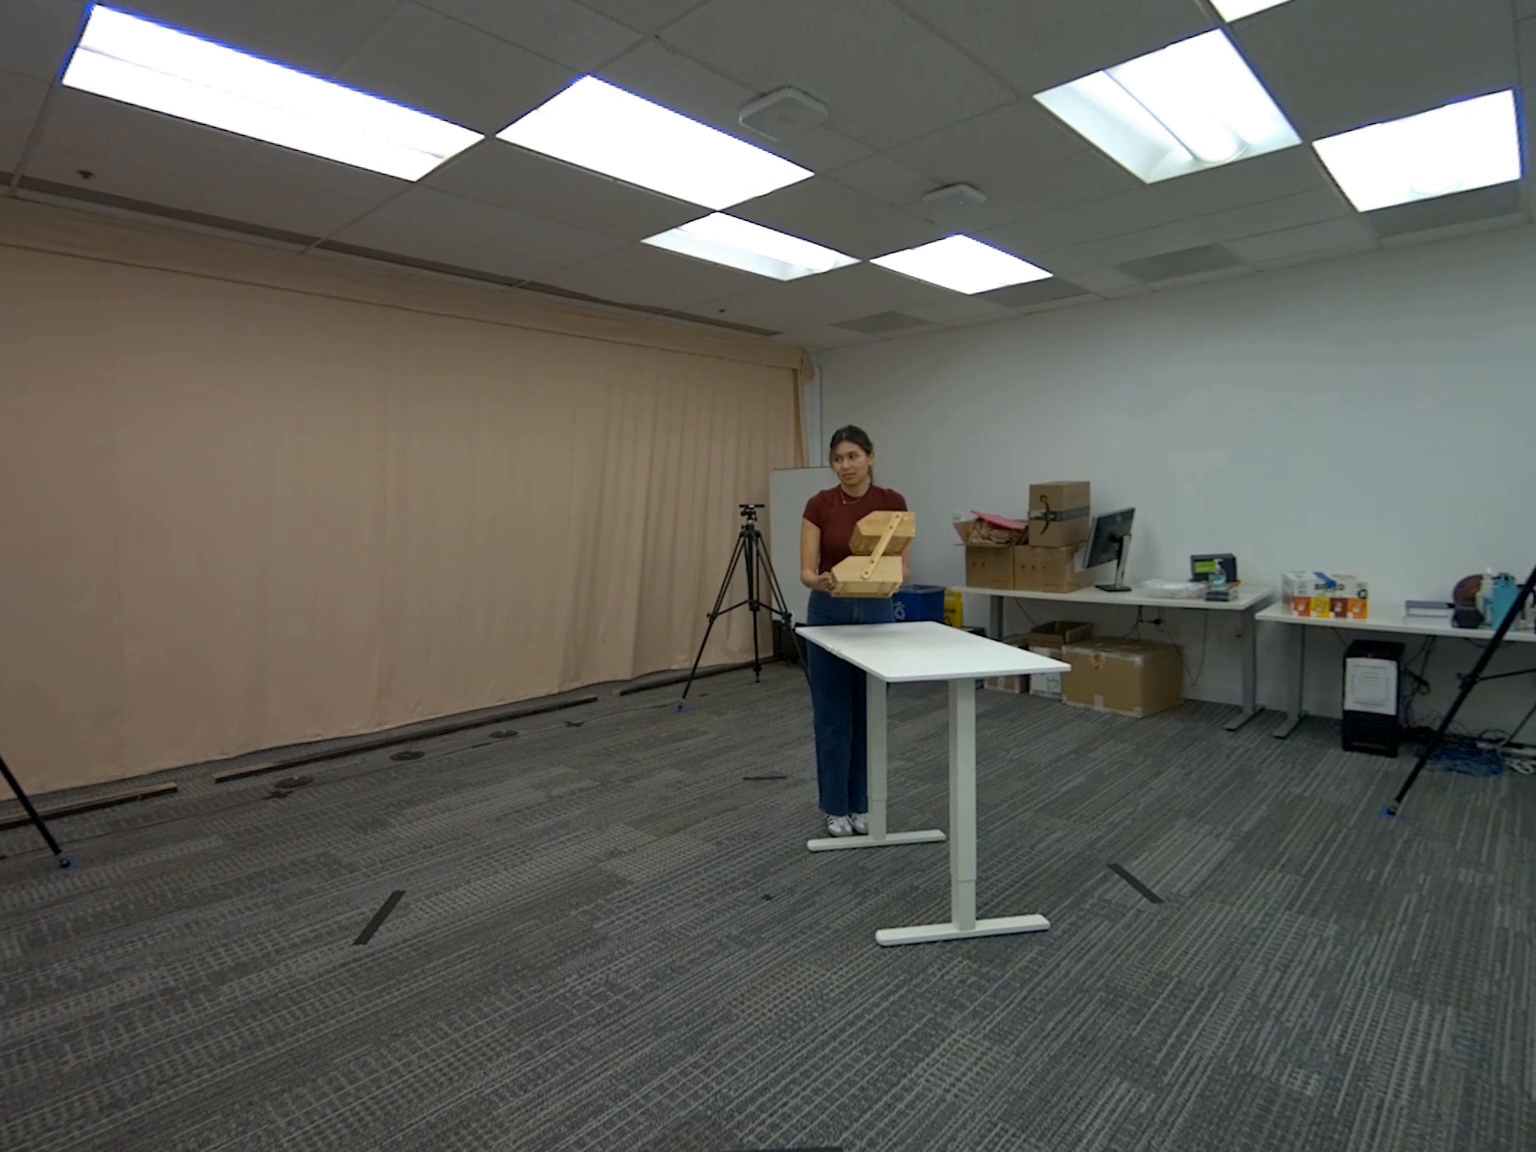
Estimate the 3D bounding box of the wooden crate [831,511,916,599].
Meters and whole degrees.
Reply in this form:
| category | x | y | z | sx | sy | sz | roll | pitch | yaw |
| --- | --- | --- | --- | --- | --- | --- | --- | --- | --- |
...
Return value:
| category | x | y | z | sx | sy | sz | roll | pitch | yaw |
| --- | --- | --- | --- | --- | --- | --- | --- | --- | --- |
| wooden crate | 0.375 | -0.079 | 3.180 | 0.302 | 0.275 | 0.321 | 1 | -13 | 0 |
